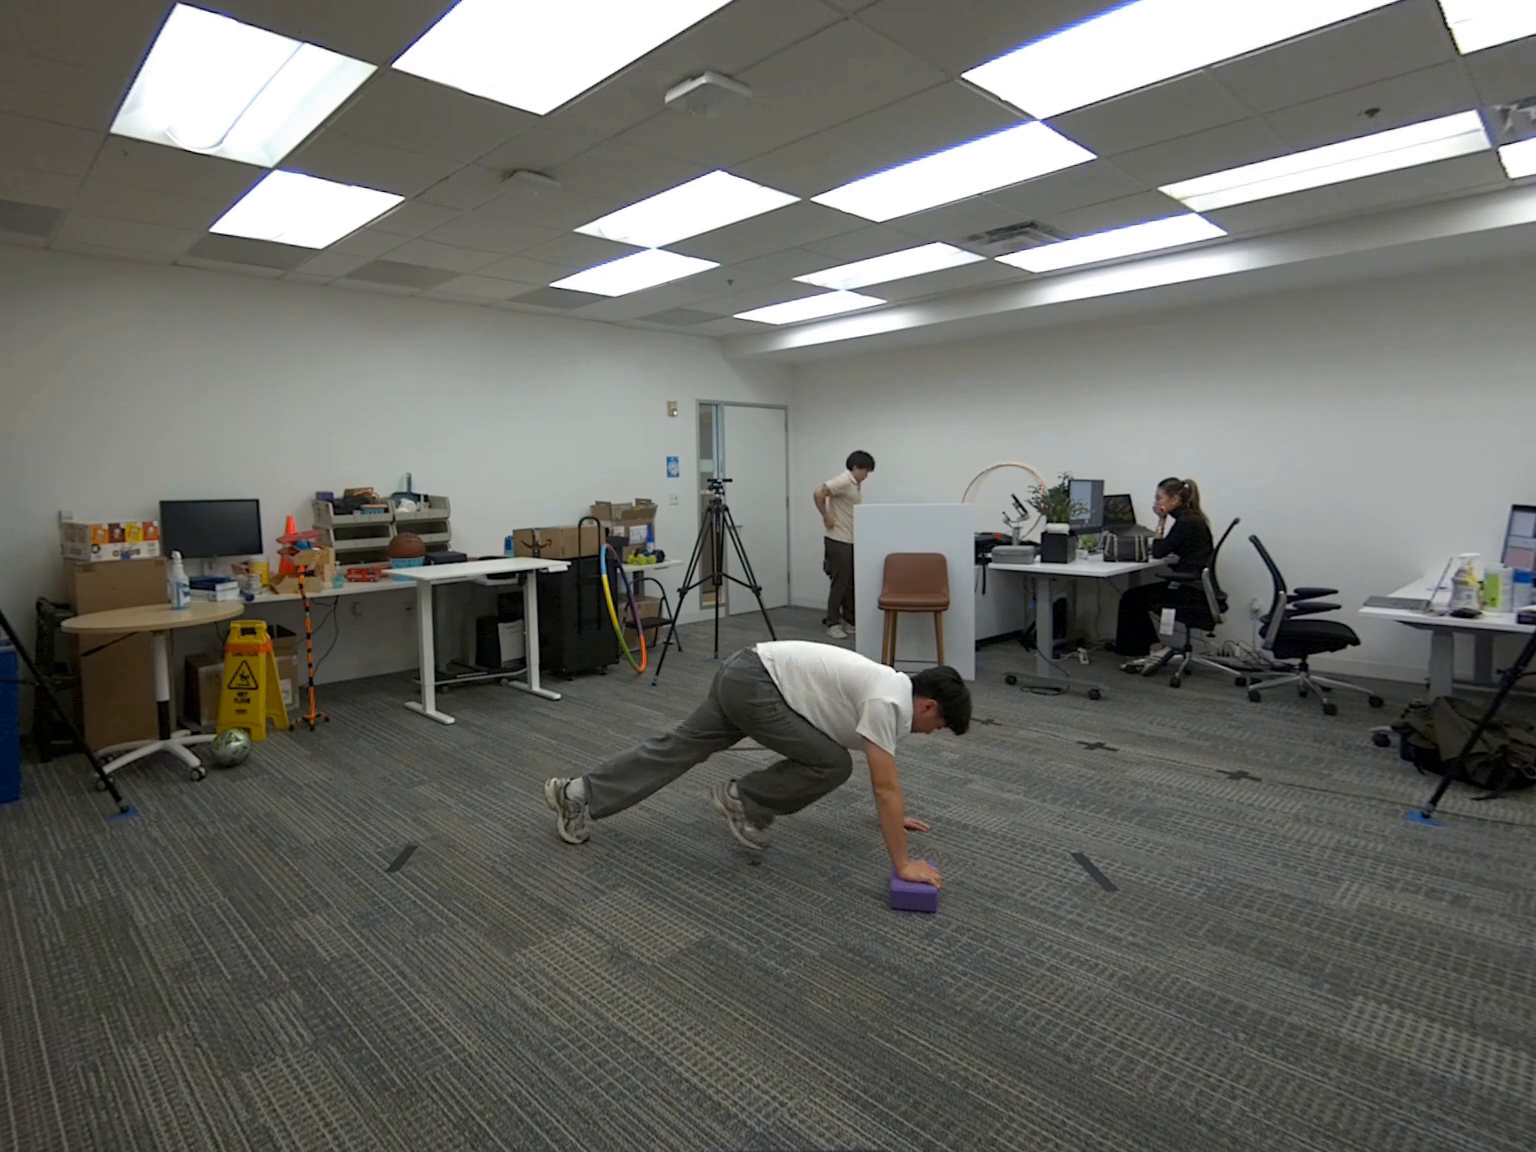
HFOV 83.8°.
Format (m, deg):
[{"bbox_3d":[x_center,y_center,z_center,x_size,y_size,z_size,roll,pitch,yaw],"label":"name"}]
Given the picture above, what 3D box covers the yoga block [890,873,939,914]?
[{"bbox_3d":[0.490,1.033,2.850,0.151,0.076,0.227,0,5,12],"label":"yoga block"}]
